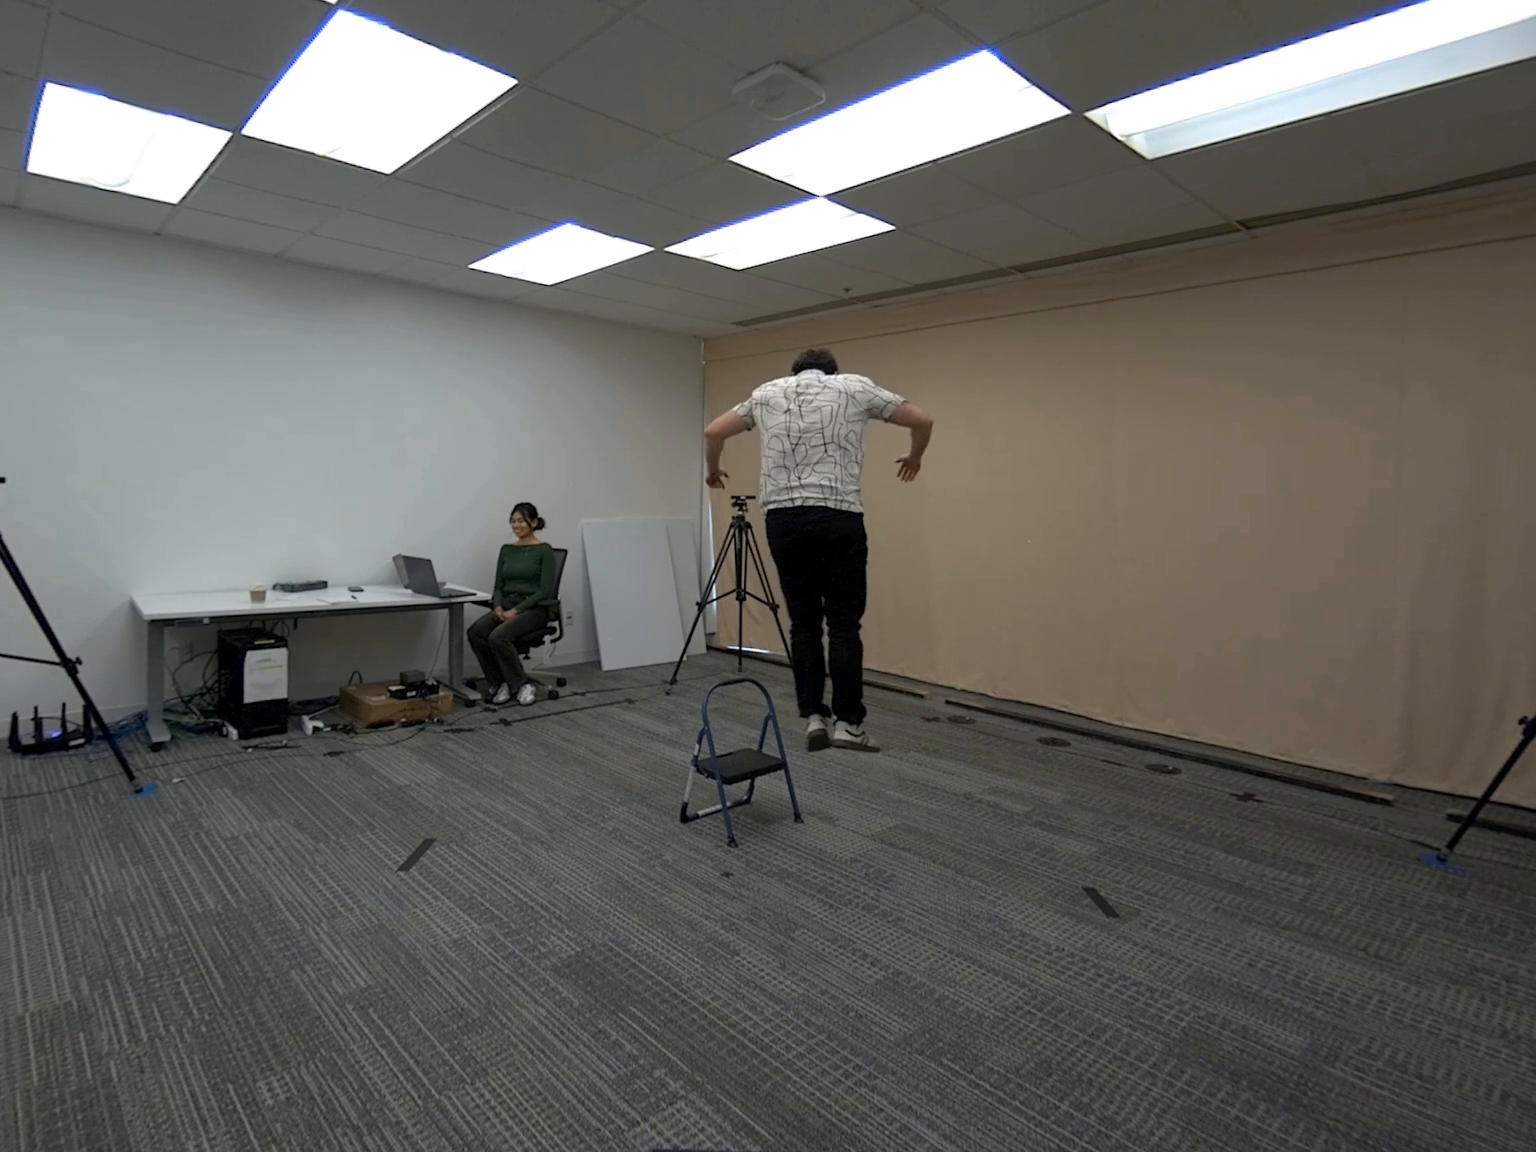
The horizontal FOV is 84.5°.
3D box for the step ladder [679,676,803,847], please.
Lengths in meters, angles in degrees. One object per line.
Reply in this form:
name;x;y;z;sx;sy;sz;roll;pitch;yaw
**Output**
step ladder;-0.113;0.754;3.599;0.358;0.605;0.421;5;5;44
